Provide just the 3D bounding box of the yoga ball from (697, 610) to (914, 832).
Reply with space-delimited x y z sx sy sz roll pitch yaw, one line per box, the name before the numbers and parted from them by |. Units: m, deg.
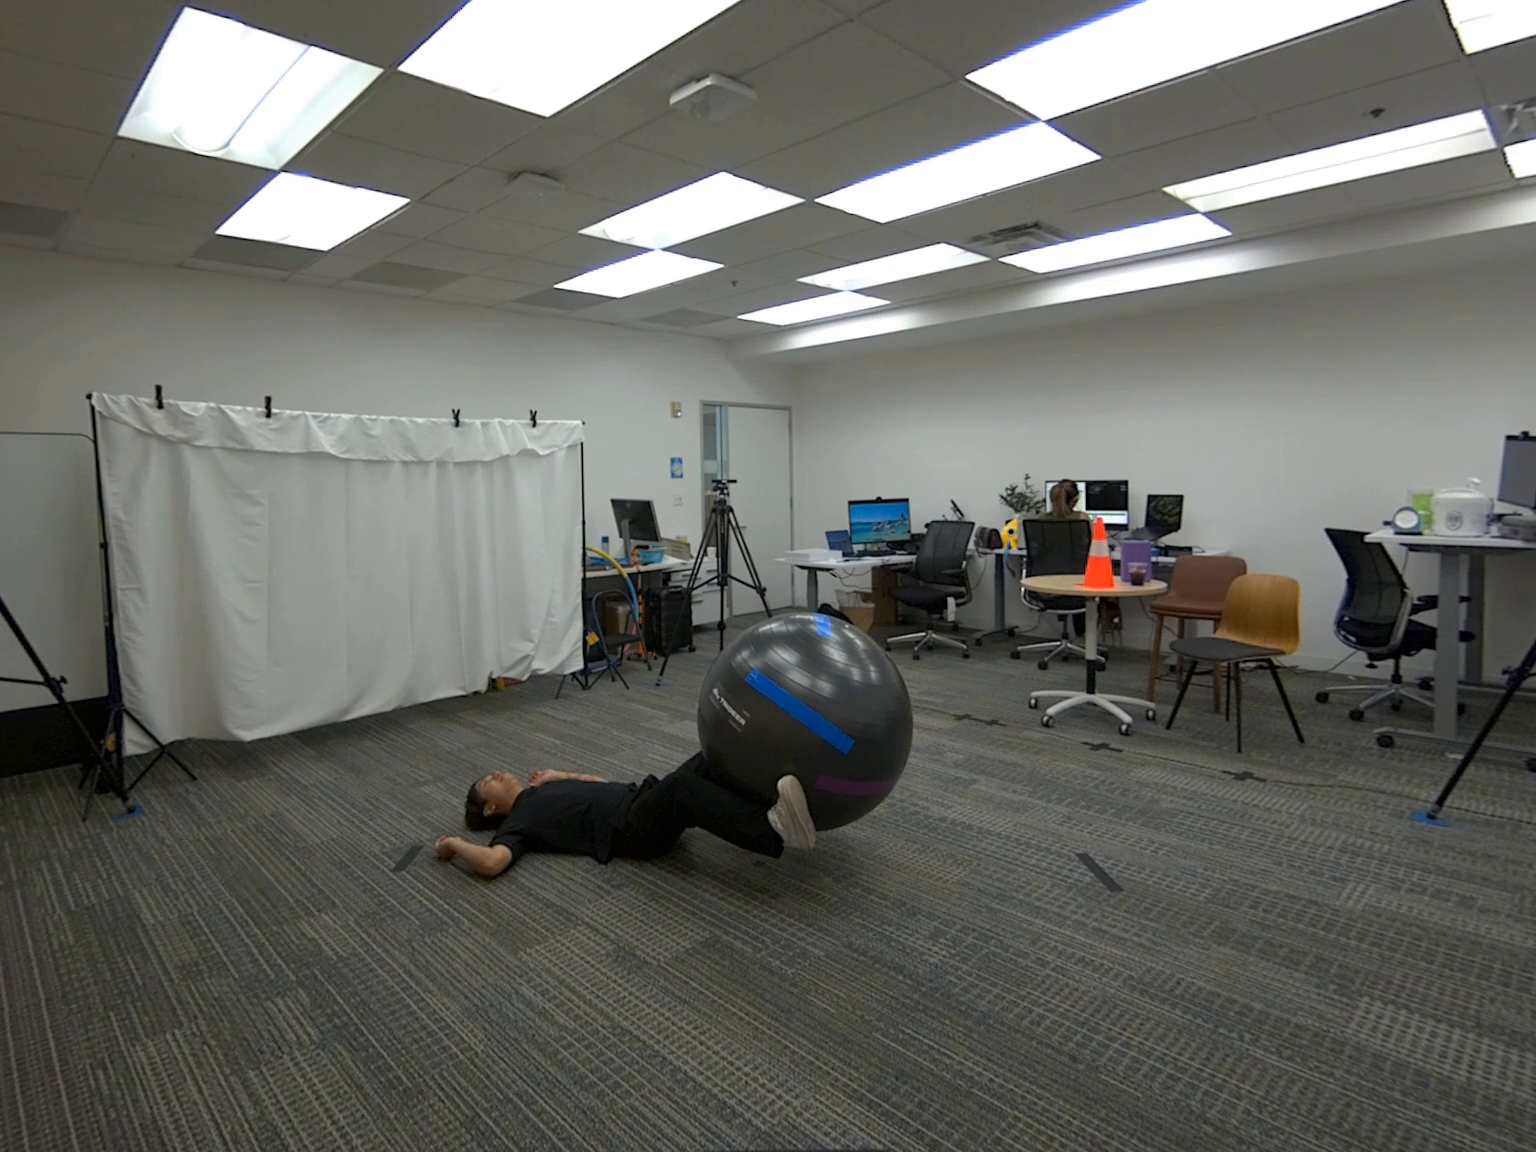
yoga ball | 0.126 0.517 3.050 0.757 0.755 0.762 -1 5 -2
